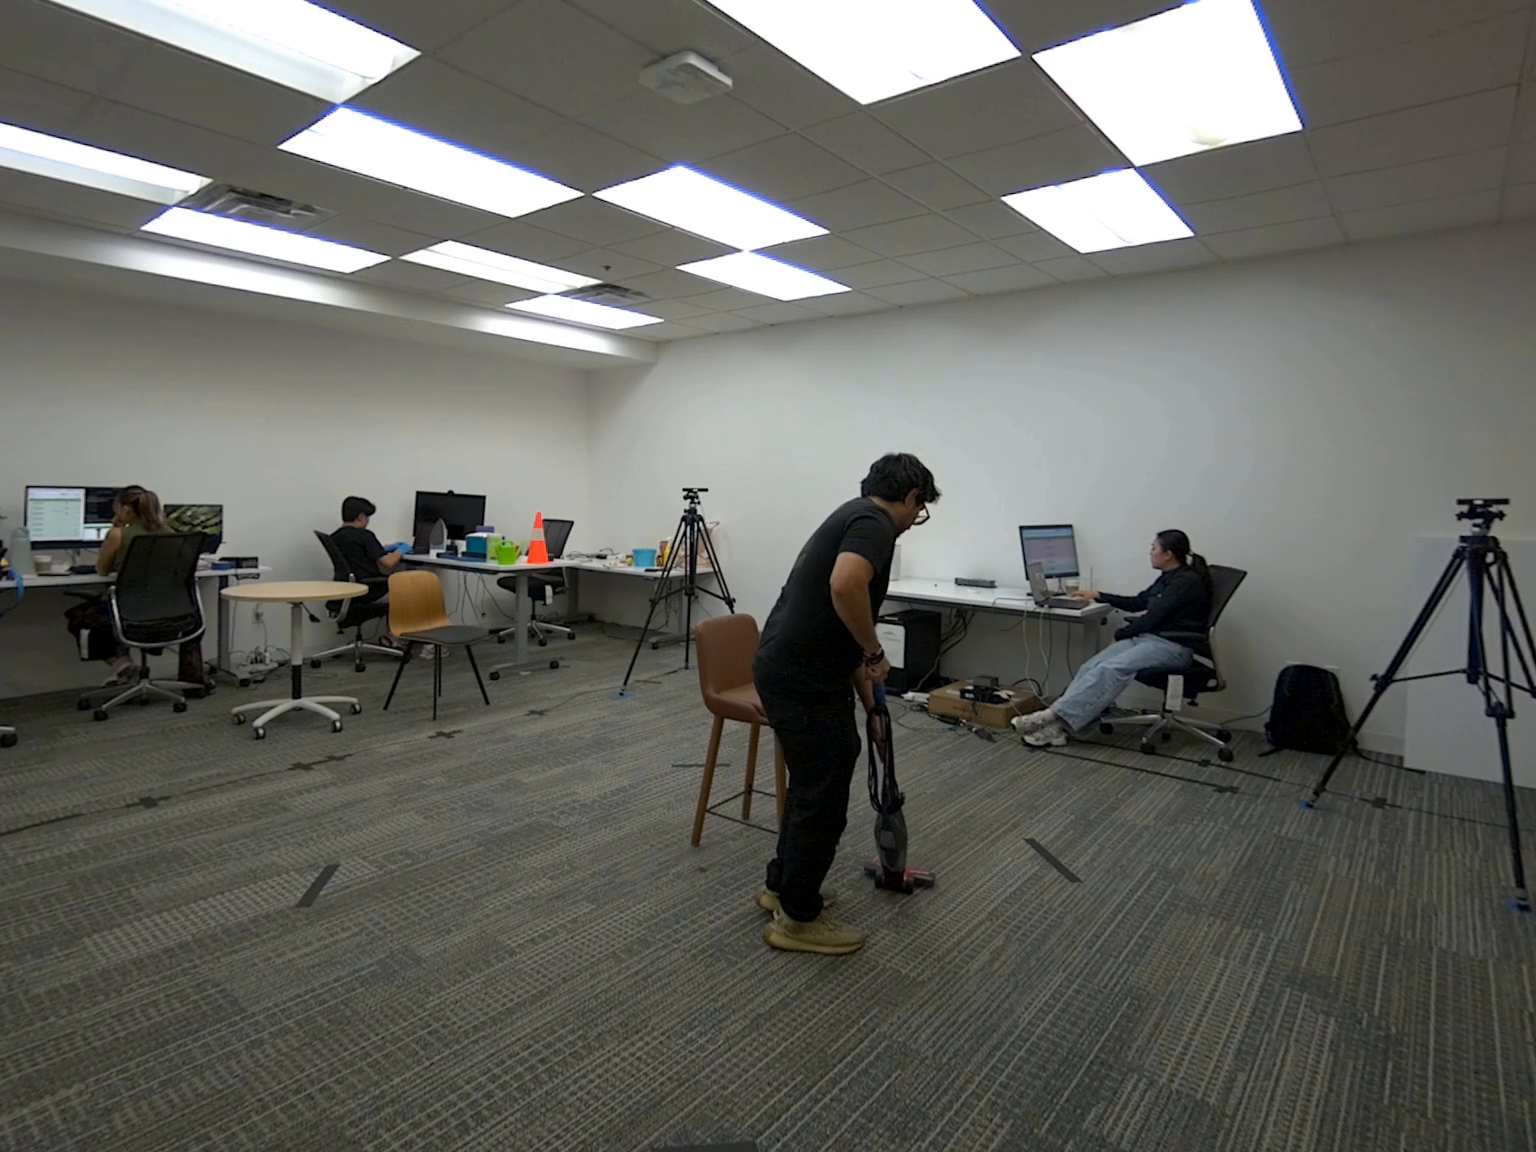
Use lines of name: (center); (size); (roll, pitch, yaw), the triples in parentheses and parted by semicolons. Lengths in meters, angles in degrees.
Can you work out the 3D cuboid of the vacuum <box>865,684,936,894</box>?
vacuum: (0.389, 0.676, 2.756); (0.257, 1.017, 0.145); (3, 35, 18)
